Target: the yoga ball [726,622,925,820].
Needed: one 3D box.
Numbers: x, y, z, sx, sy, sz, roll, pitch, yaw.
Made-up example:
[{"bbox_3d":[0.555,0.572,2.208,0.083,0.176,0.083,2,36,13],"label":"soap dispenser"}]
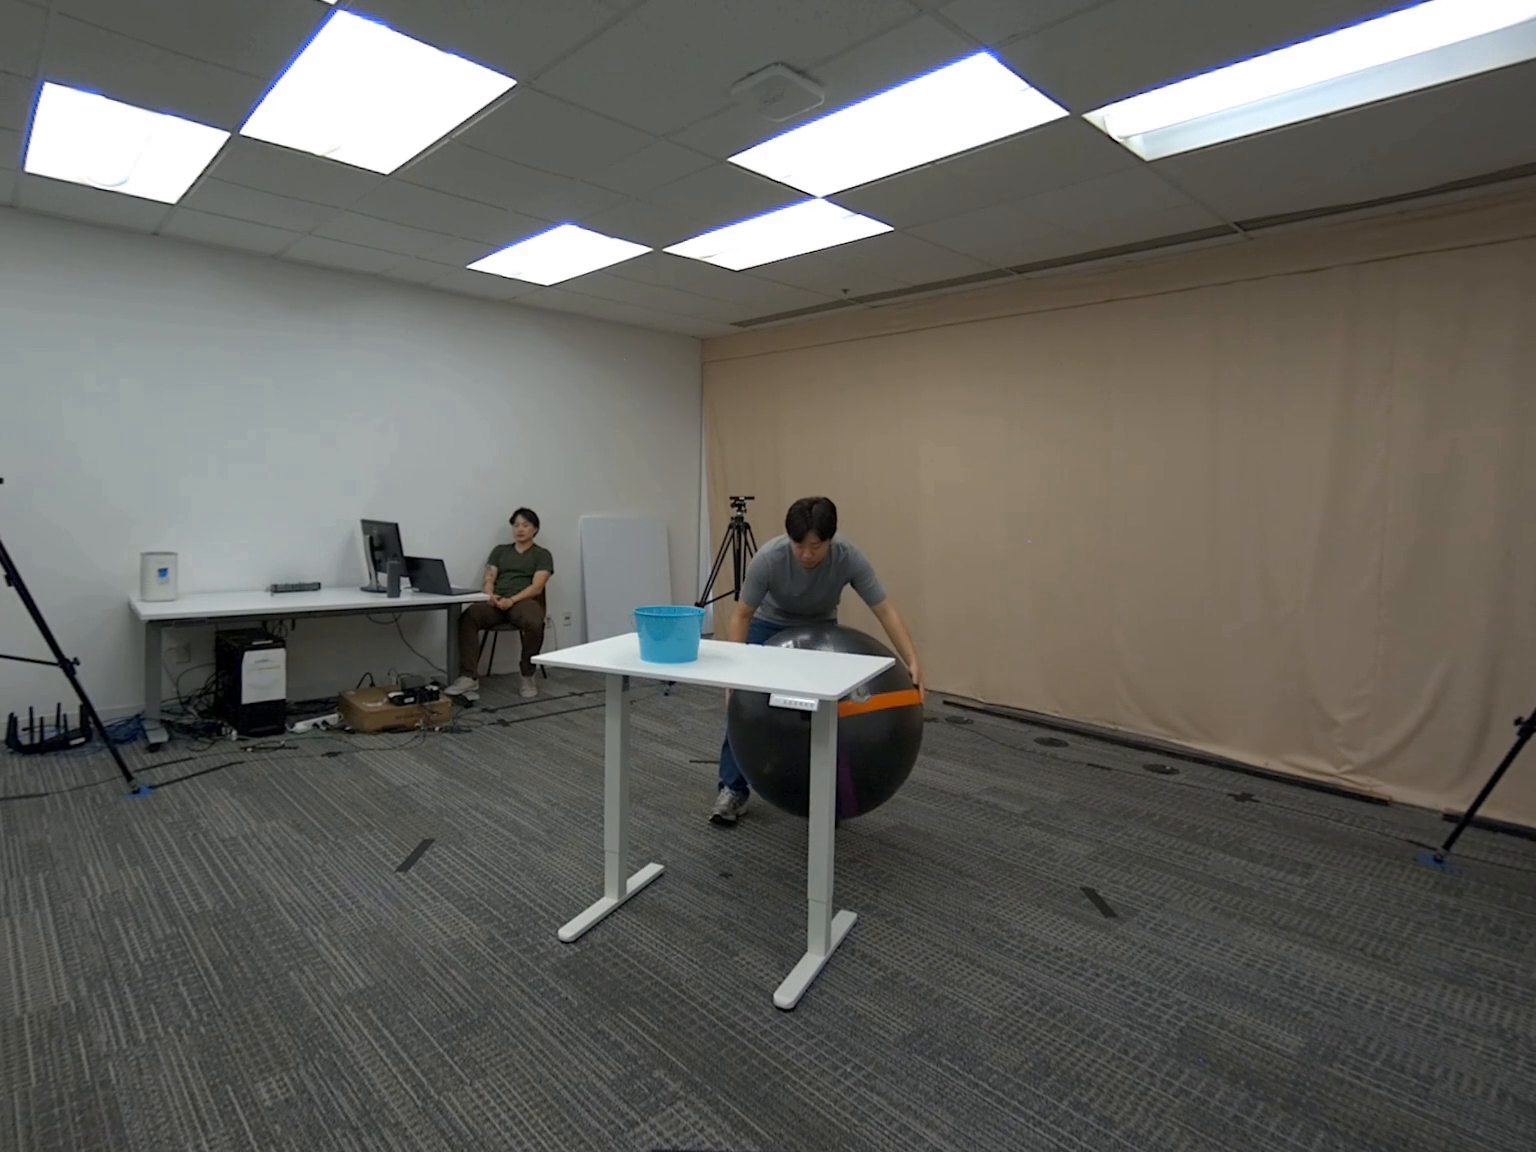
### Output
[{"bbox_3d":[0.223,0.560,3.291,0.757,0.756,0.761,1,4,-1],"label":"yoga ball"}]
